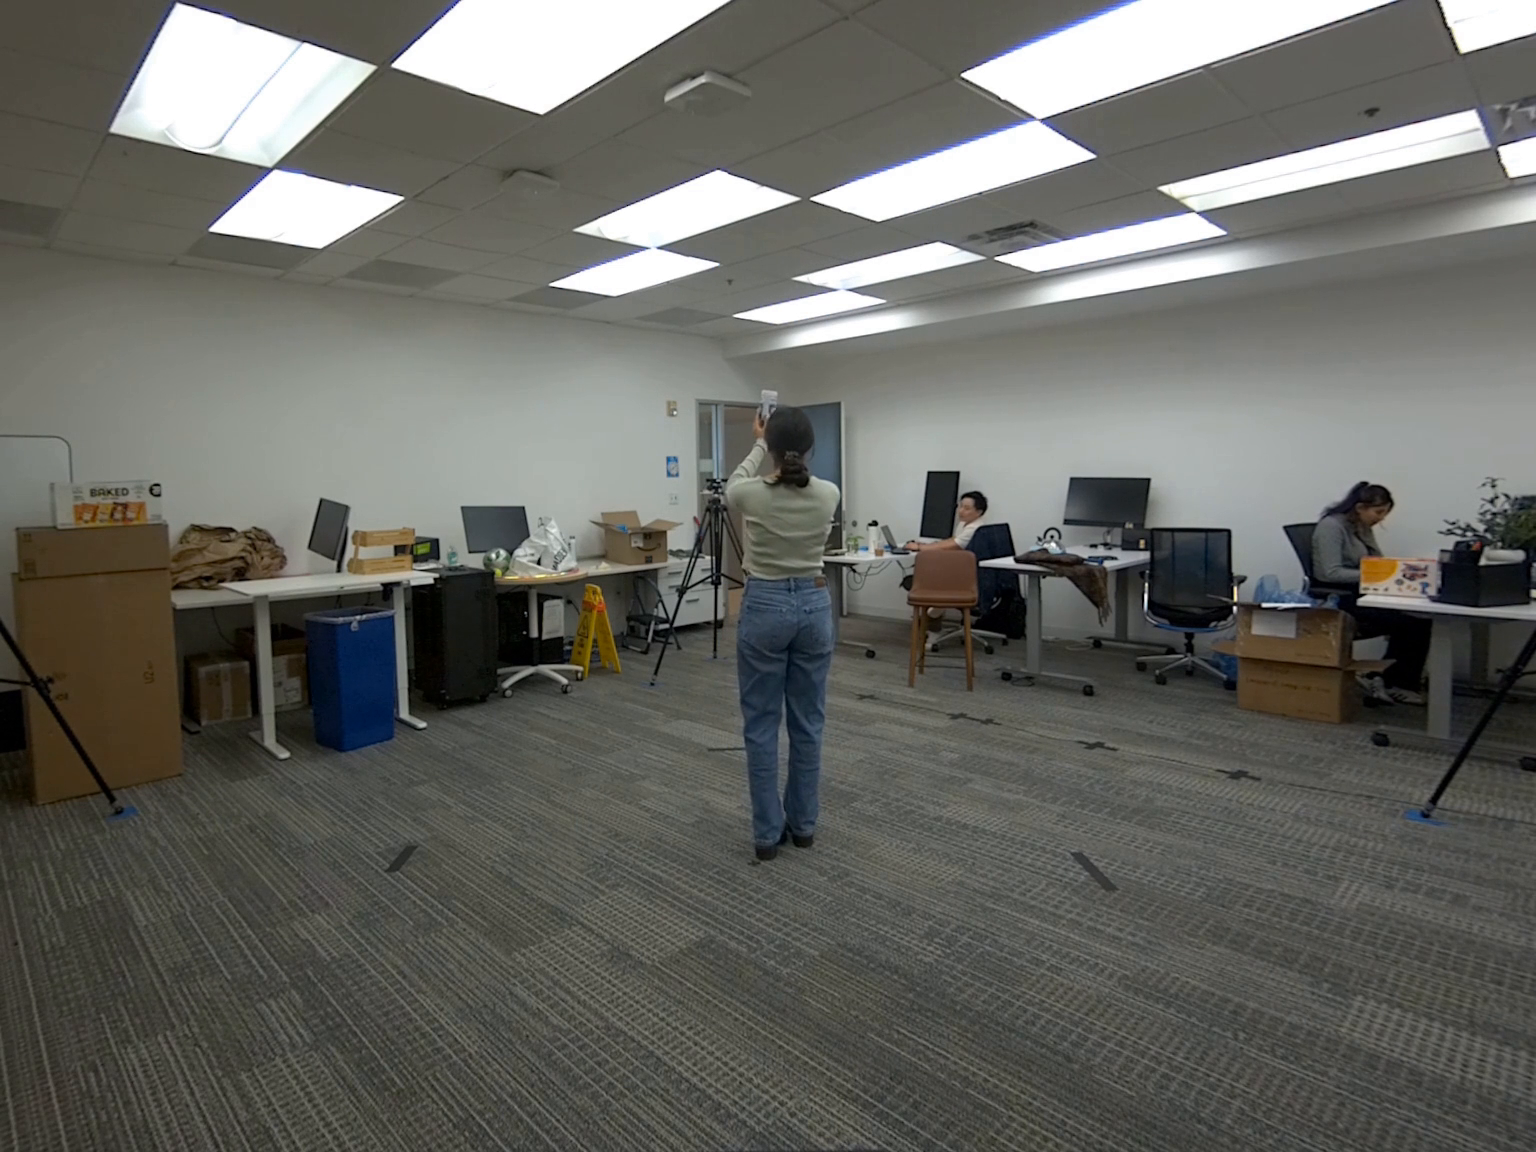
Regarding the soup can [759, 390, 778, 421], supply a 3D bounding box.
[{"bbox_3d":[-0.004,-0.706,3.539,0.067,0.121,0.068,7,8,-3],"label":"soup can"}]
